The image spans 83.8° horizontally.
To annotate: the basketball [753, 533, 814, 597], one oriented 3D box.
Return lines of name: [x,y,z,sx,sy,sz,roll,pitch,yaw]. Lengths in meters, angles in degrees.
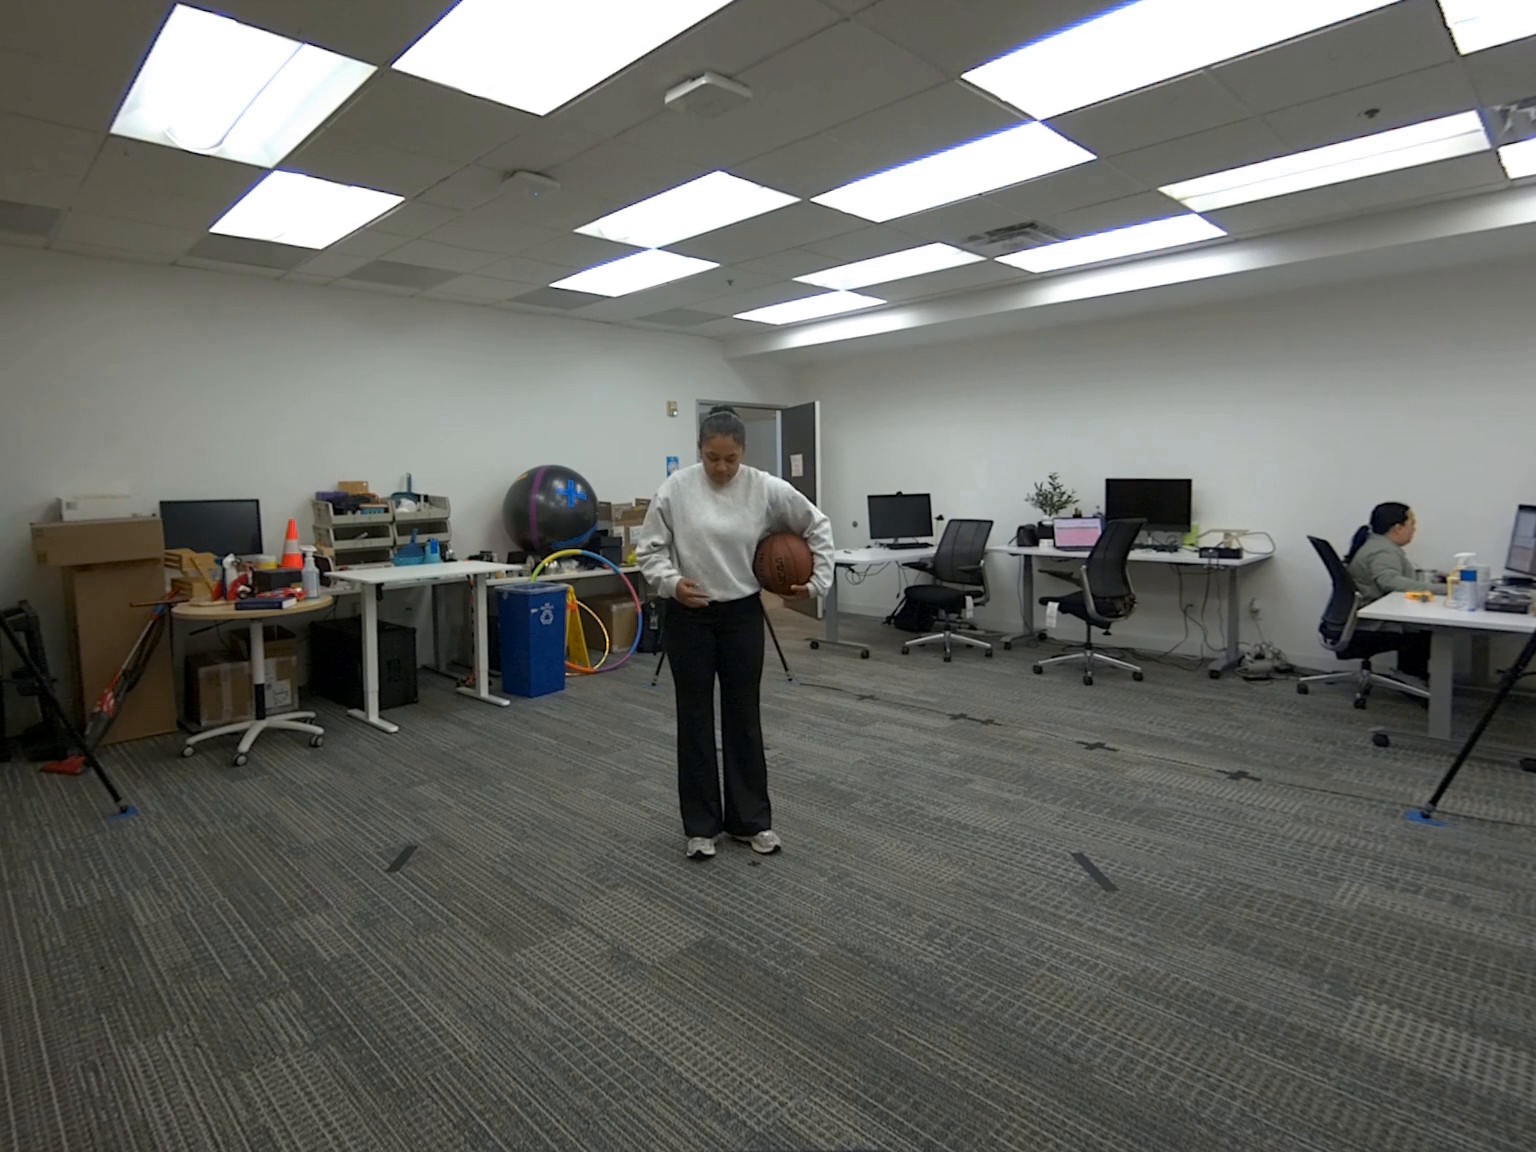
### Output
basketball: [0.054,-0.047,3.207,0.236,0.235,0.237,-1,5,-2]
